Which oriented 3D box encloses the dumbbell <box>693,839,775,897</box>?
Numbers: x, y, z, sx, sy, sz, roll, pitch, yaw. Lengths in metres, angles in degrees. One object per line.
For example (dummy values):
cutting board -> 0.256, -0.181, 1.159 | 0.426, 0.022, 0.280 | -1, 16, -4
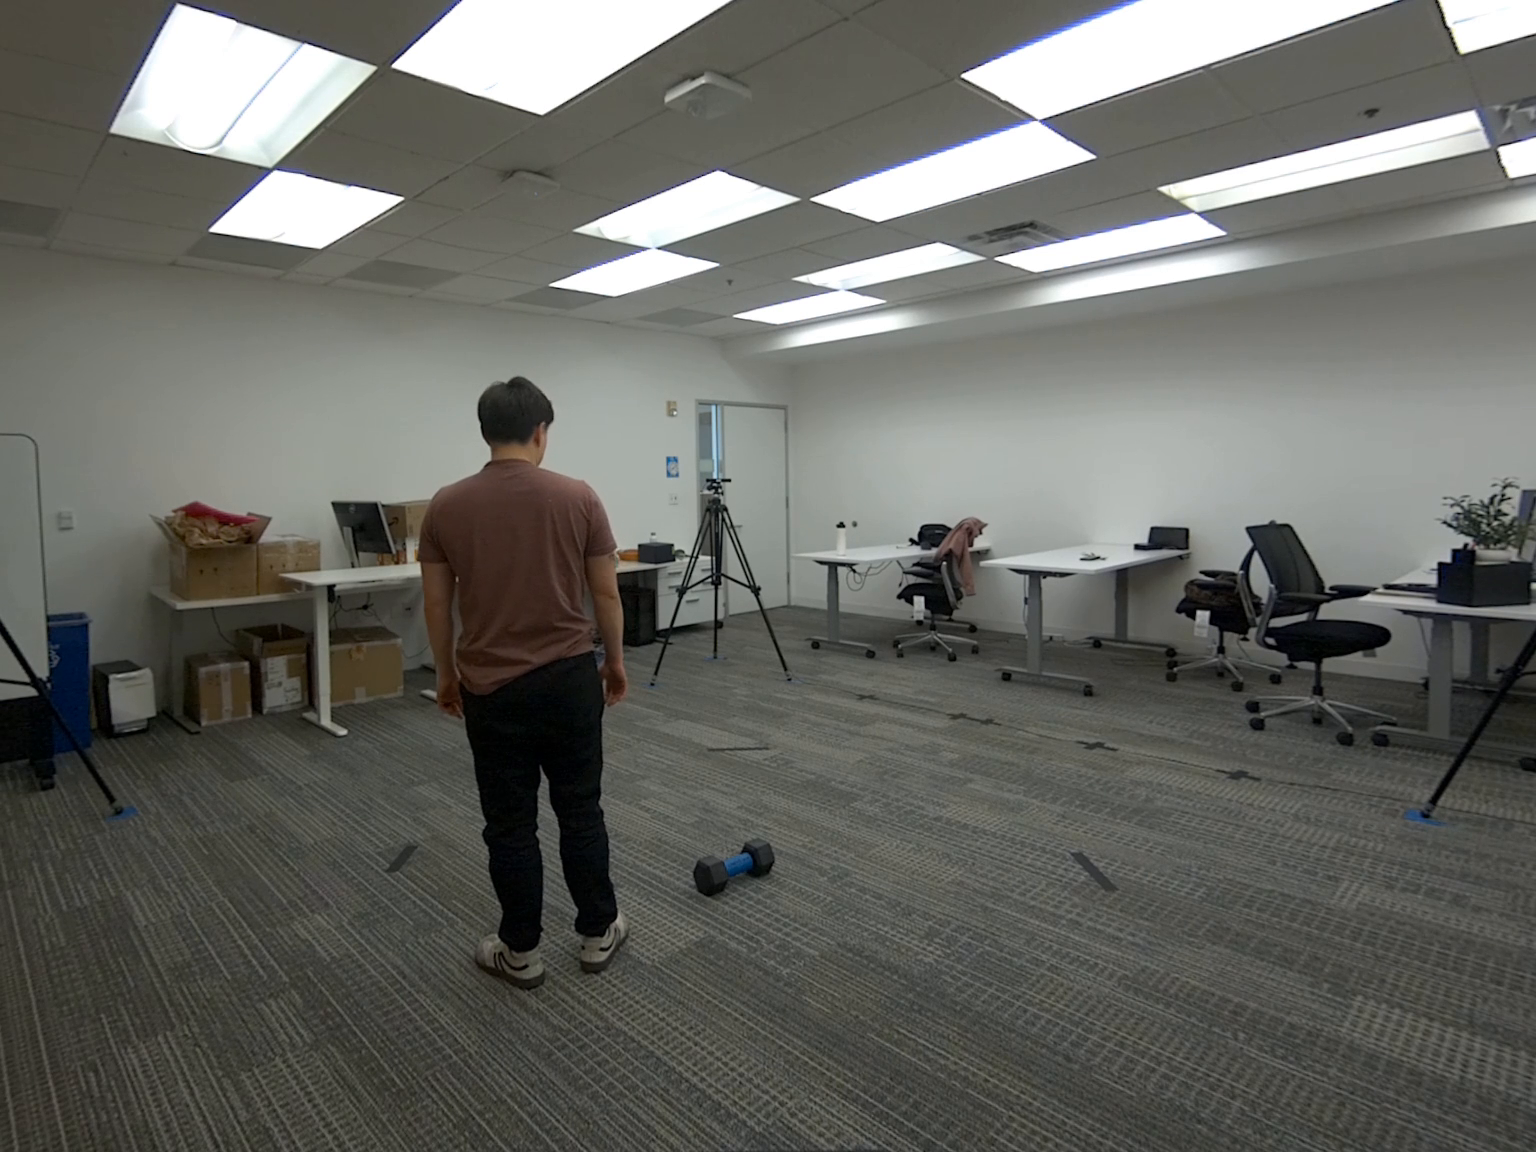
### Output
dumbbell -> -0.113, 1.006, 2.967 | 0.286, 0.121, 0.113 | -6, 37, -40
